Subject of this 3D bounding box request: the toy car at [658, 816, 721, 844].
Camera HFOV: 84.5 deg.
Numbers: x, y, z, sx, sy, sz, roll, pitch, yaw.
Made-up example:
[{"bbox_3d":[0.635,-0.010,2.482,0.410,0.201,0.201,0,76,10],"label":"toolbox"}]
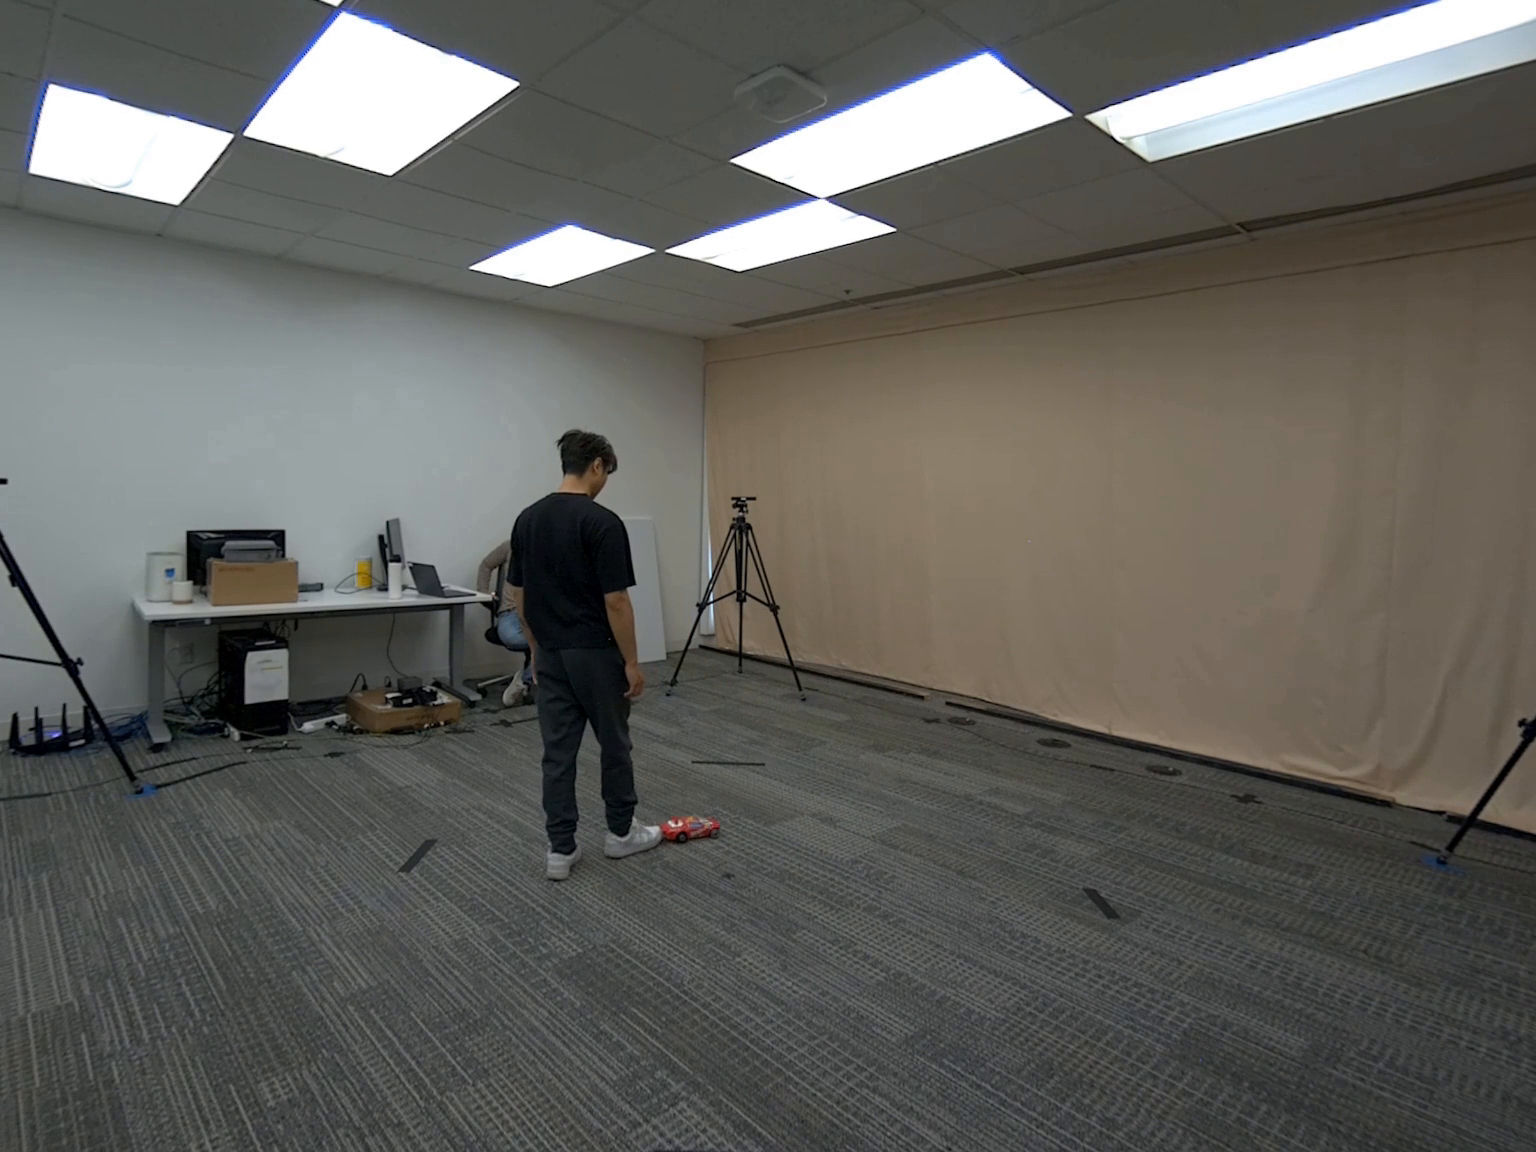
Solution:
[{"bbox_3d":[-0.335,1.038,3.458,0.249,0.083,0.133,11,-1,-26],"label":"toy car"}]
